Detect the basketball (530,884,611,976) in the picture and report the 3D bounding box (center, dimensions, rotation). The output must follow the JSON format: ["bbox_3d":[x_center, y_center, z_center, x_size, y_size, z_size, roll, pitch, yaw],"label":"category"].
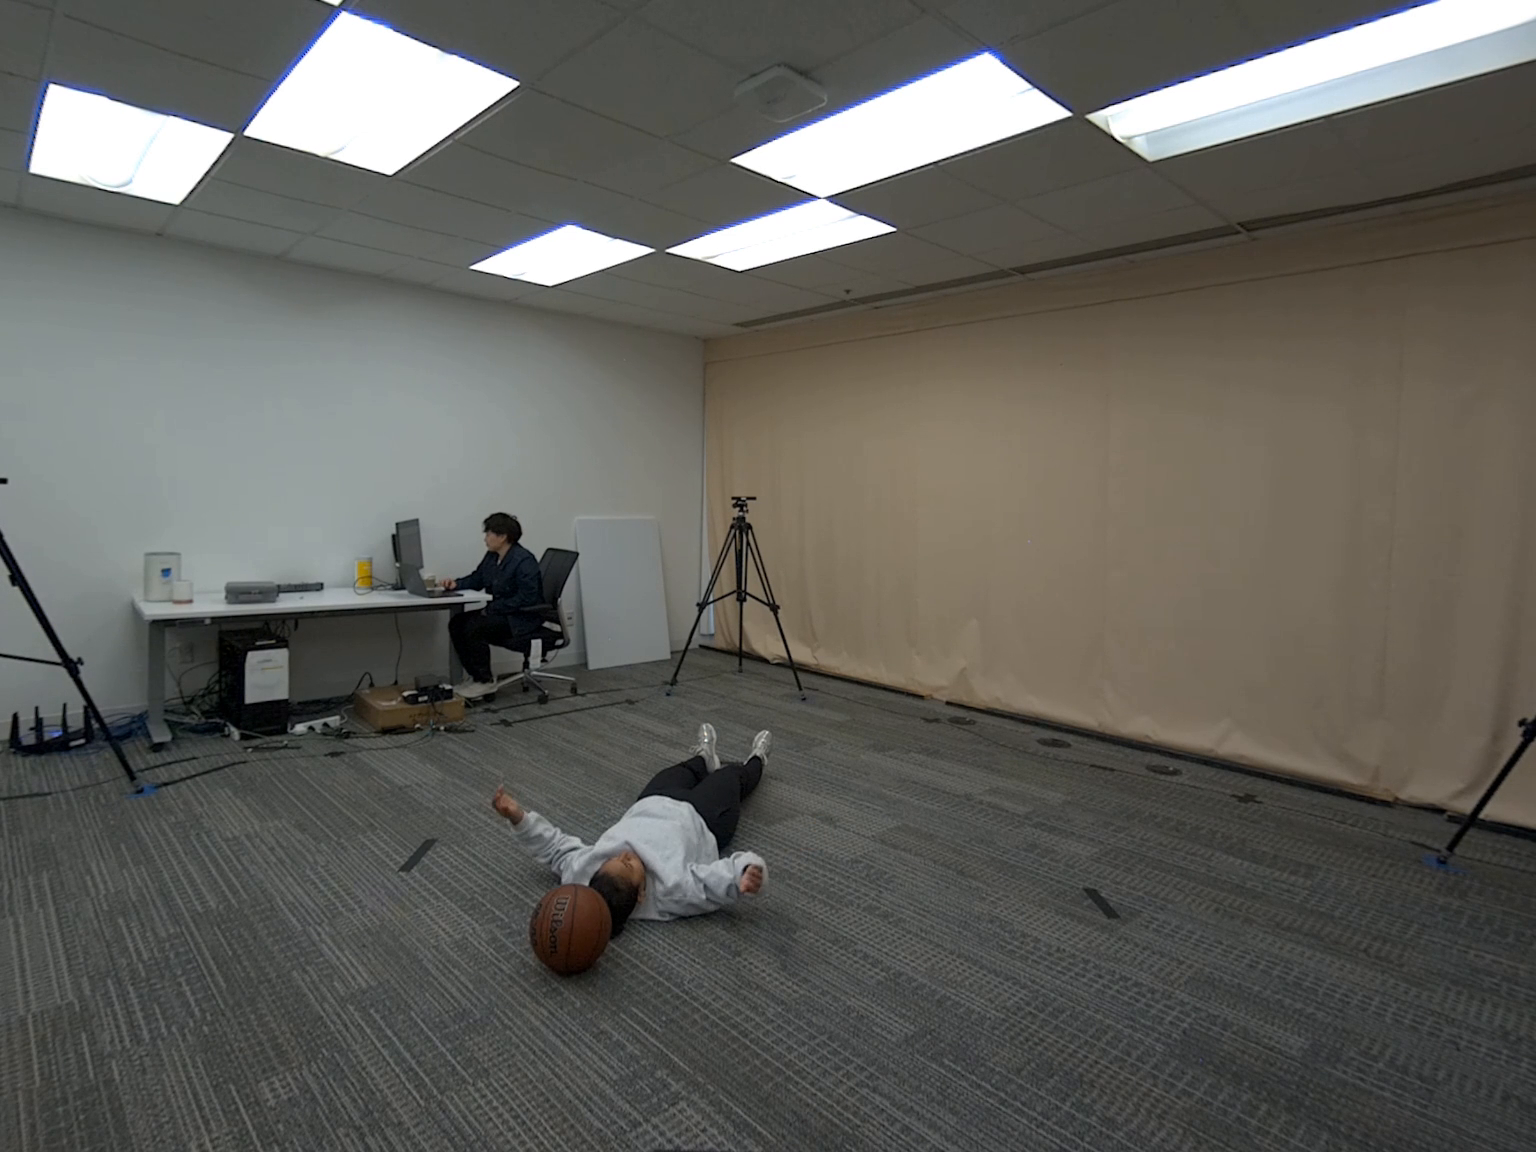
[{"bbox_3d":[-0.585,1.036,2.470,0.235,0.235,0.237,4,7,-2],"label":"basketball"}]
